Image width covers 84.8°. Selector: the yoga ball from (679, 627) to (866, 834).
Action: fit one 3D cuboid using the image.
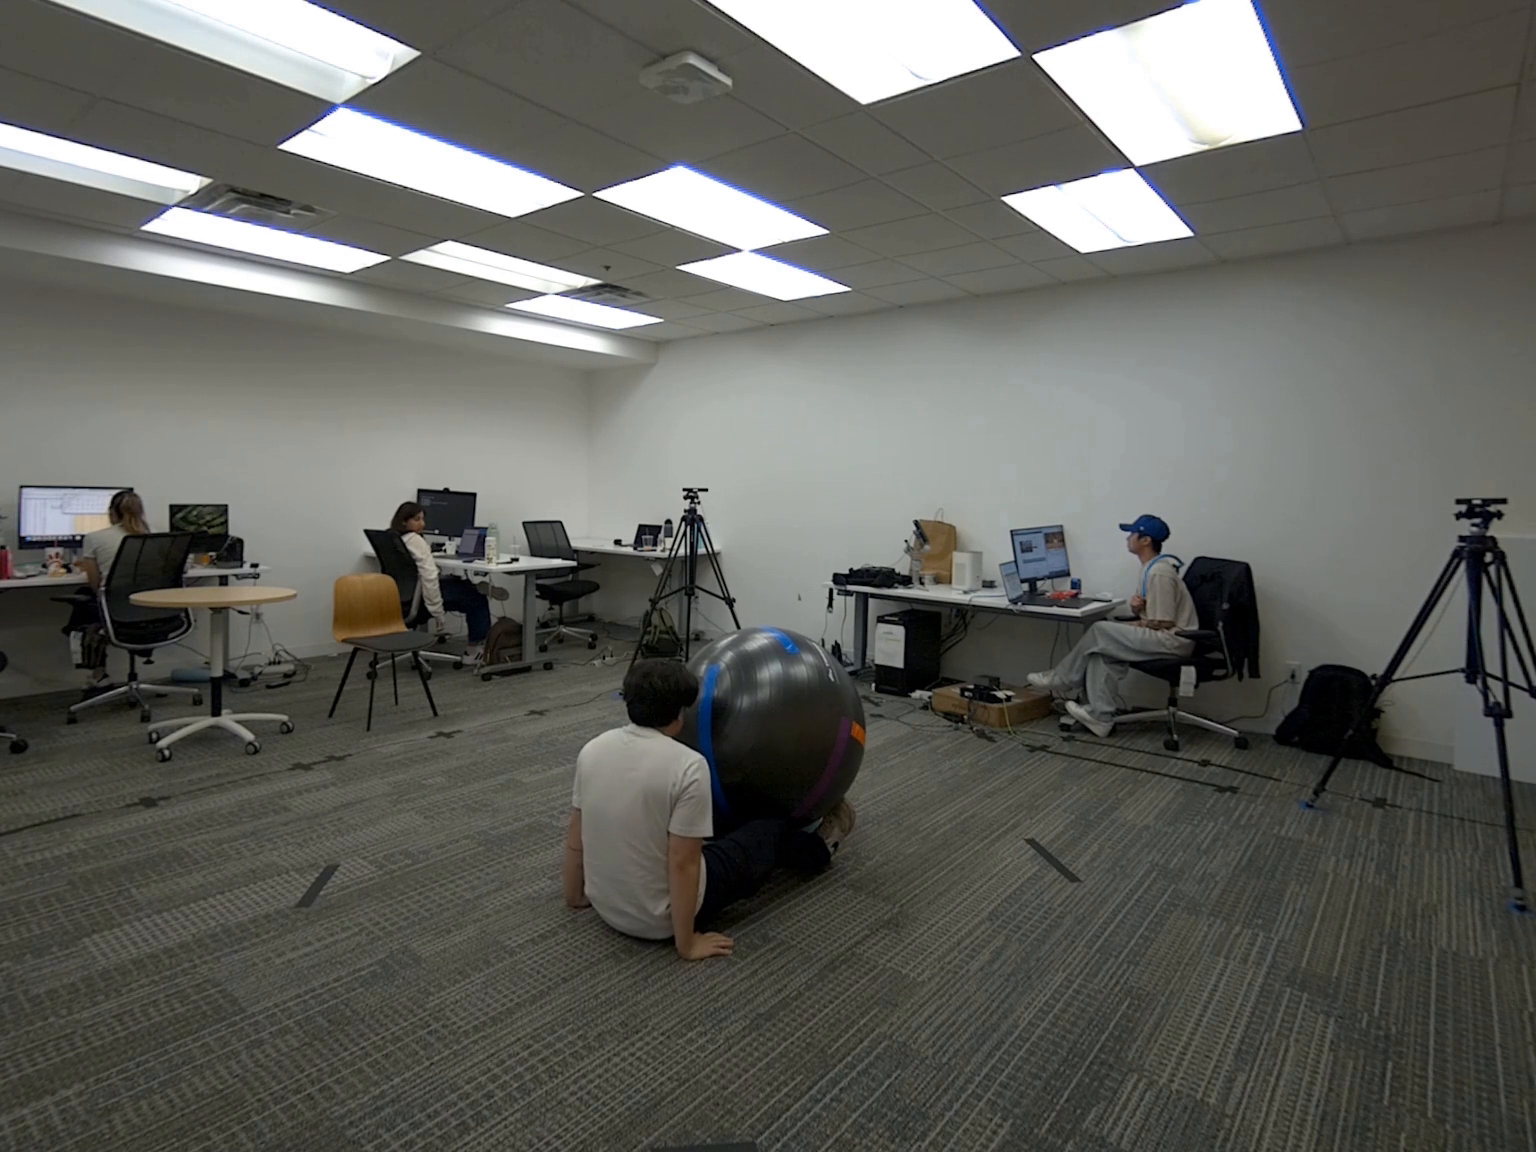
[{"bbox_3d":[-0.023,0.567,3.194,0.757,0.755,0.762,1,4,-2],"label":"yoga ball"}]
